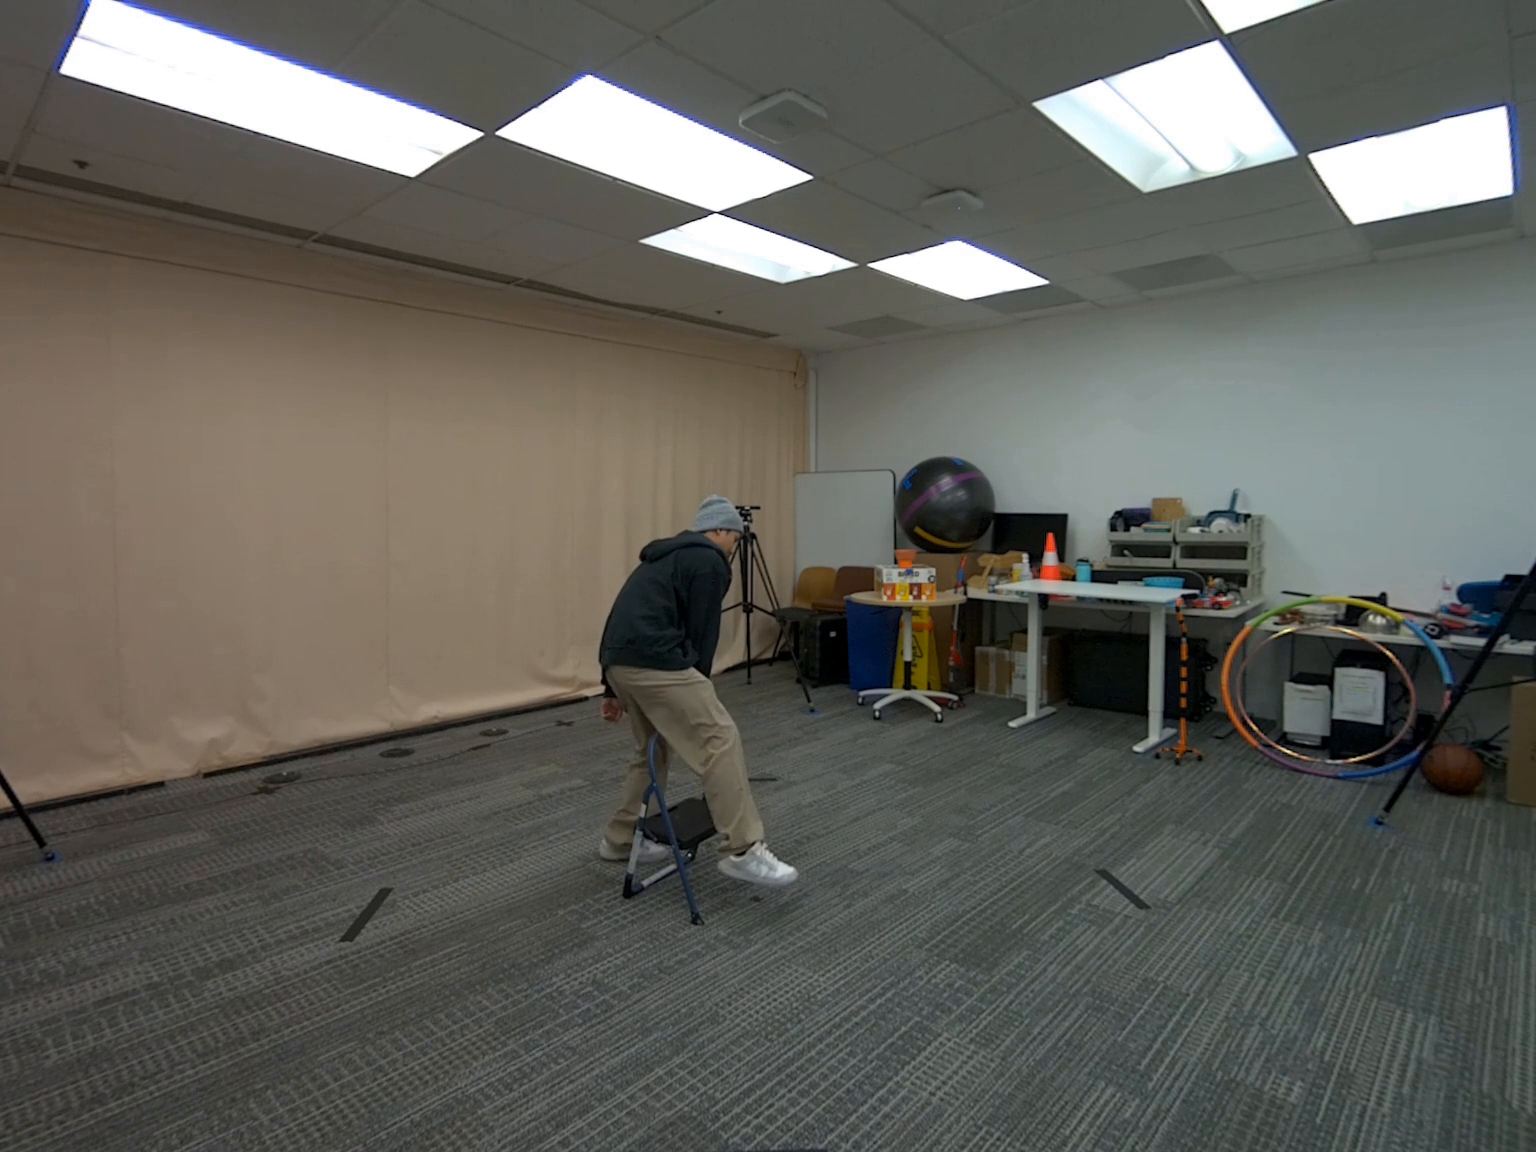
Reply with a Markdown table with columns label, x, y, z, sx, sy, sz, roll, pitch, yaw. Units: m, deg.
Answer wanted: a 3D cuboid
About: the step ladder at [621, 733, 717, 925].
| label | x | y | z | sx | sy | sz | roll | pitch | yaw |
| --- | --- | --- | --- | --- | --- | --- | --- | --- | --- |
| step ladder | -0.267 | 0.841 | 3.051 | 0.360 | 0.605 | 0.419 | 2 | 4 | 32 |
